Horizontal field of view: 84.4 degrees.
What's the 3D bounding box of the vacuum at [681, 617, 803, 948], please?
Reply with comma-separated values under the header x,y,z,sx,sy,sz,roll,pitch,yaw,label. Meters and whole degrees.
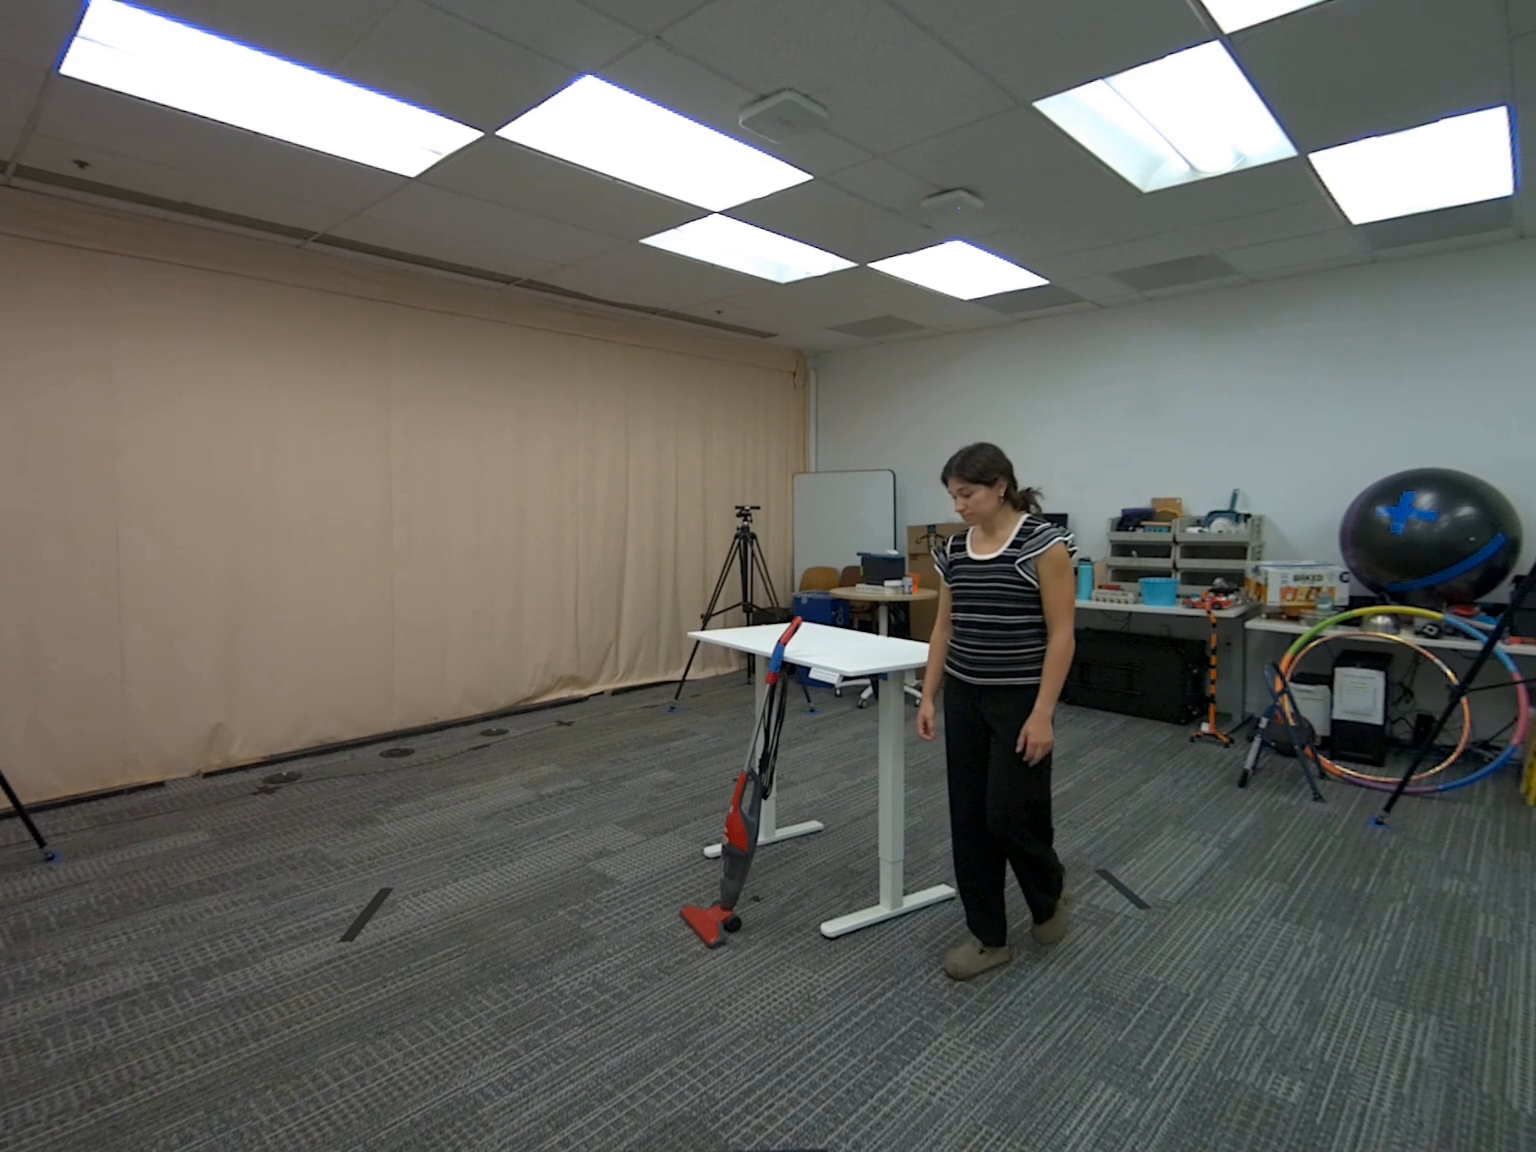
x,y,z,sx,sy,sz,roll,pitch,yaw,label
-0.046,0.667,2.818,0.140,1.050,0.260,17,-4,-28,vacuum
